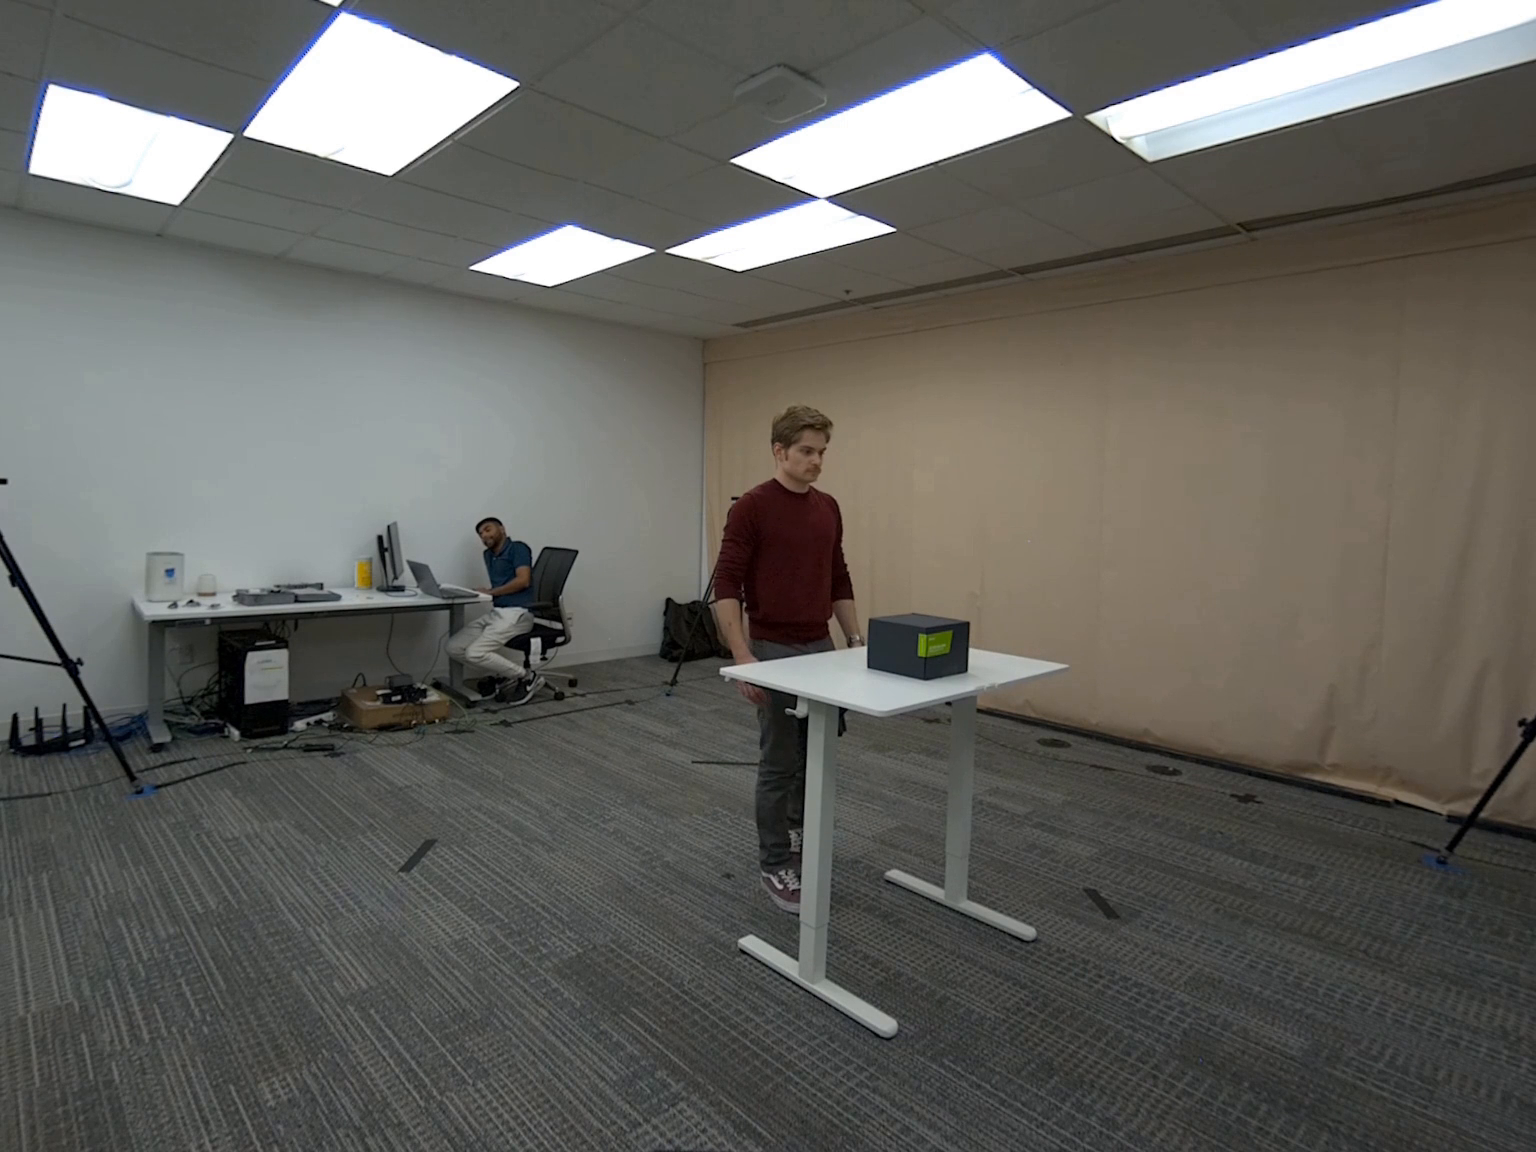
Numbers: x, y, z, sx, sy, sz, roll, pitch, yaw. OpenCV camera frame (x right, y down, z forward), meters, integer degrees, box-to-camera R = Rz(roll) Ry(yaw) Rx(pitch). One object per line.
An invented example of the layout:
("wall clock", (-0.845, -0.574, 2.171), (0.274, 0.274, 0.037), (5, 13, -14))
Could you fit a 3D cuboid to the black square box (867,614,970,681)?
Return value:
("black square box", (0.447, 0.209, 2.560), (0.223, 0.155, 0.223), (-3, 7, -44))
